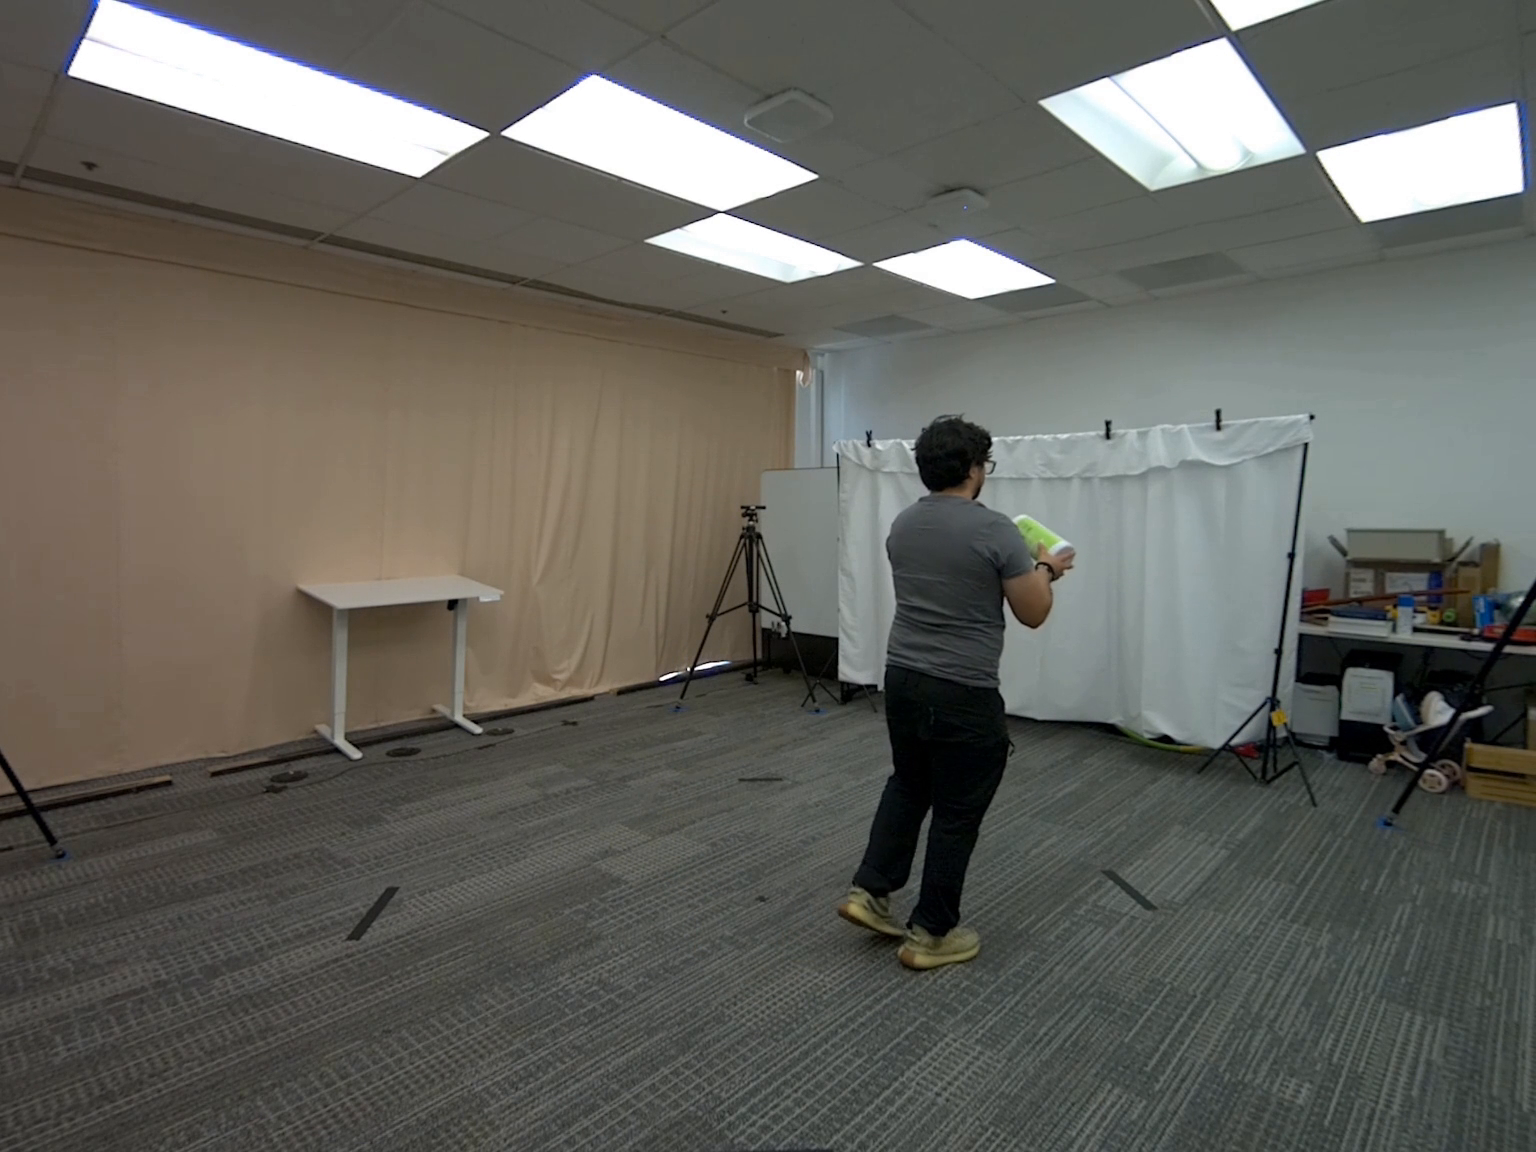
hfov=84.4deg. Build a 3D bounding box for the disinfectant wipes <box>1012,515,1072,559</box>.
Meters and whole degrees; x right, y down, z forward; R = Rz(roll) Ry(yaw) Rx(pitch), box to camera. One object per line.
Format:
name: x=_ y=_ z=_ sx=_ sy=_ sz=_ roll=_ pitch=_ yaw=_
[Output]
disinfectant wipes: x=0.906 y=-0.109 z=2.788 sx=0.115 sy=0.117 sz=0.225 roll=-2 pitch=32 yaw=-29
